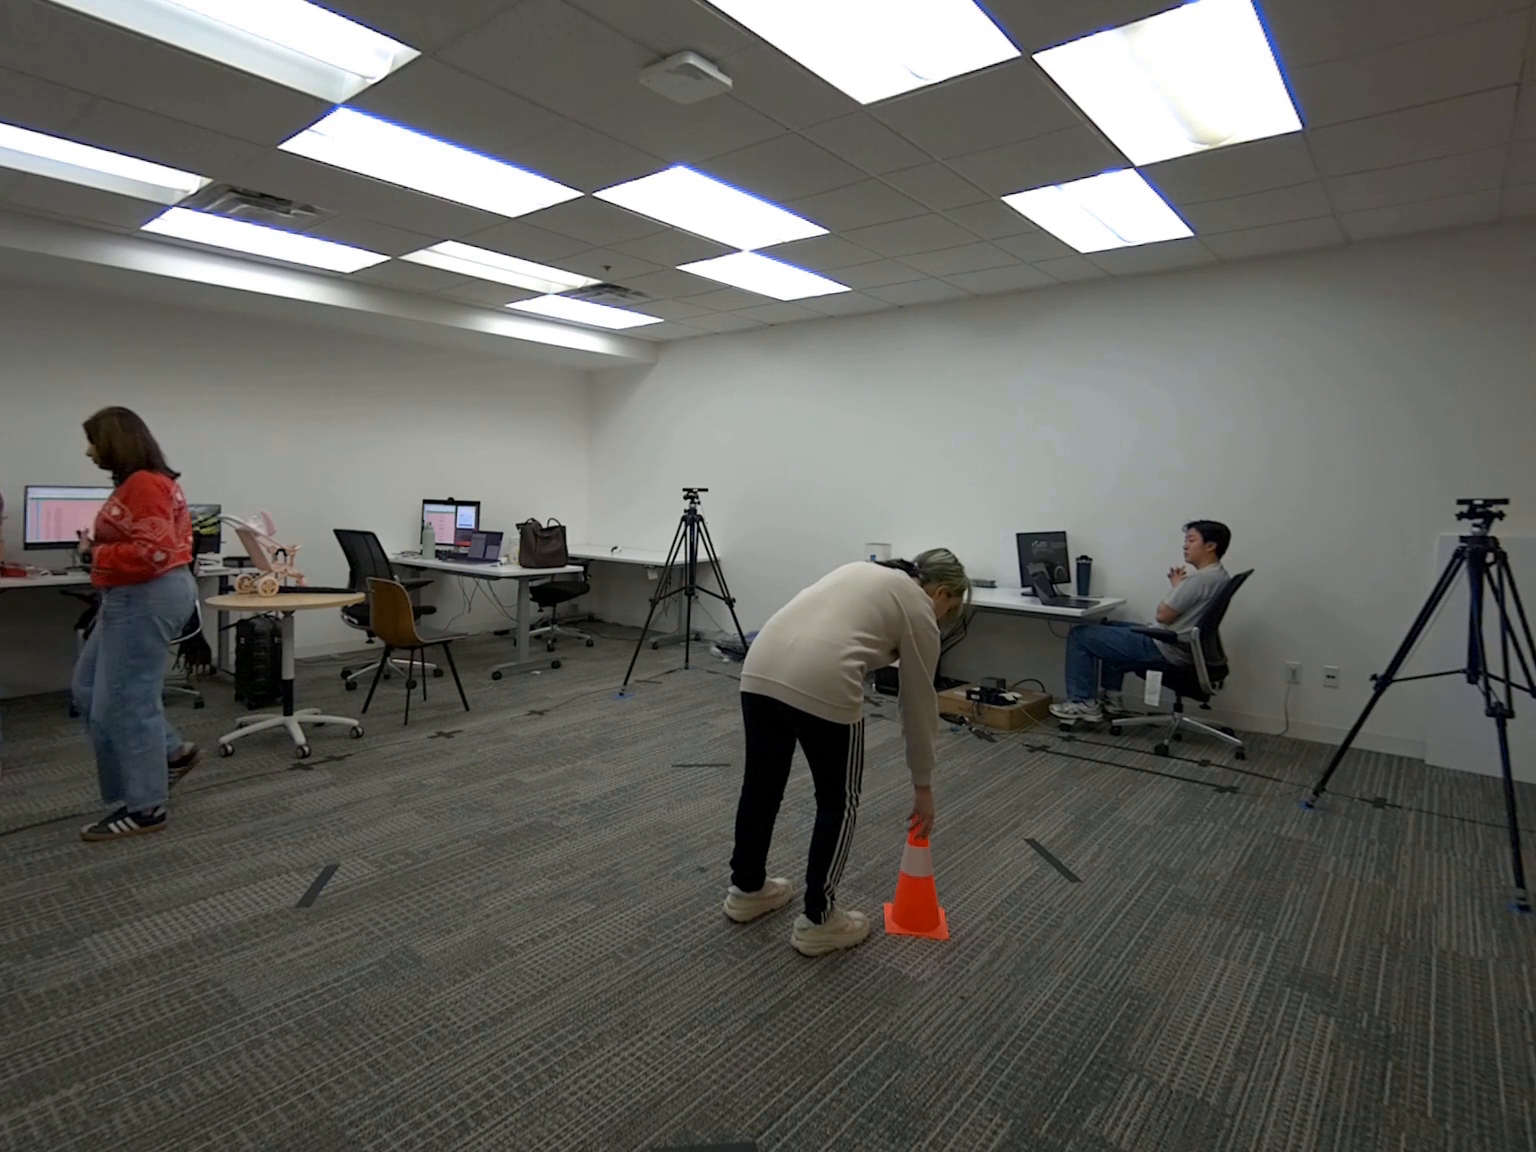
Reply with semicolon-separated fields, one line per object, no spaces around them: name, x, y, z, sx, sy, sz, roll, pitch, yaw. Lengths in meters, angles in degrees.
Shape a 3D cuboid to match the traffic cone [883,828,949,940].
traffic cone;0.477;0.930;2.765;0.207;0.383;0.202;2;3;7
